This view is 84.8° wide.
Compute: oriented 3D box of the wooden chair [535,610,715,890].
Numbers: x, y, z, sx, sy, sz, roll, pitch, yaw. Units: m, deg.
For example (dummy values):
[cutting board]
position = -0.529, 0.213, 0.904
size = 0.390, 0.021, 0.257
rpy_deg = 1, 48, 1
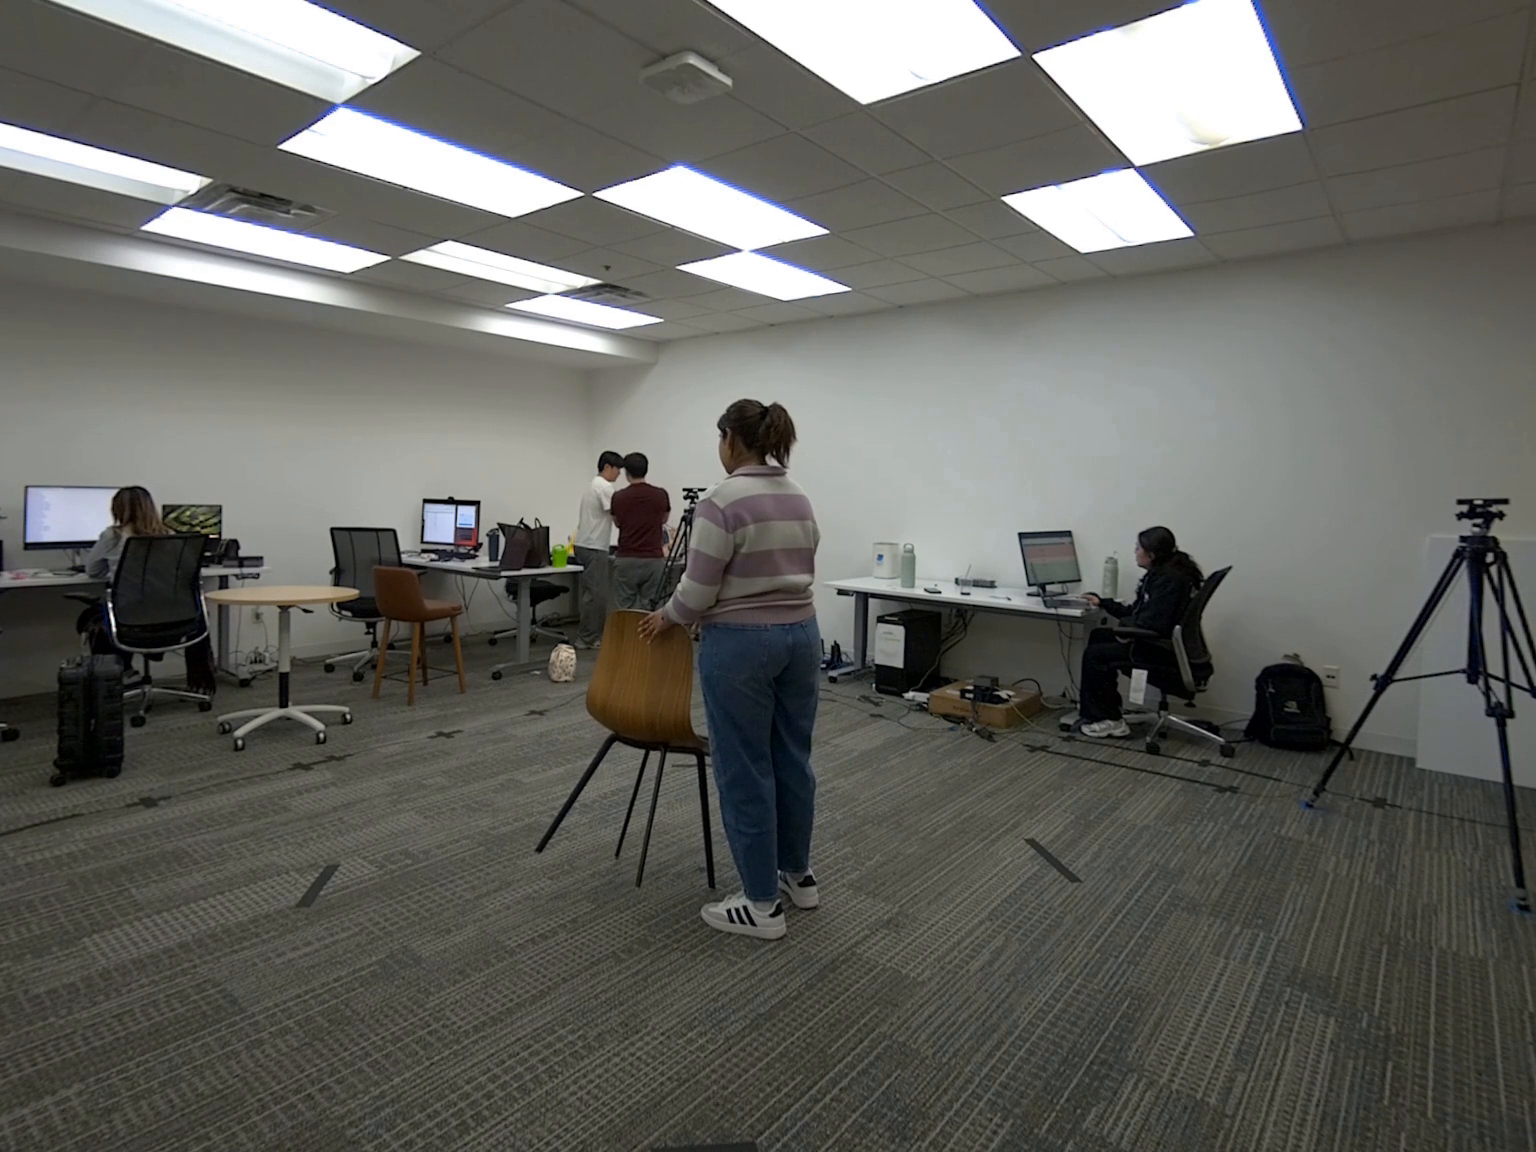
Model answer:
[wooden chair]
position = -0.407, 0.601, 3.016
size = 0.492, 0.885, 0.503
rpy_deg = 3, -13, 31
